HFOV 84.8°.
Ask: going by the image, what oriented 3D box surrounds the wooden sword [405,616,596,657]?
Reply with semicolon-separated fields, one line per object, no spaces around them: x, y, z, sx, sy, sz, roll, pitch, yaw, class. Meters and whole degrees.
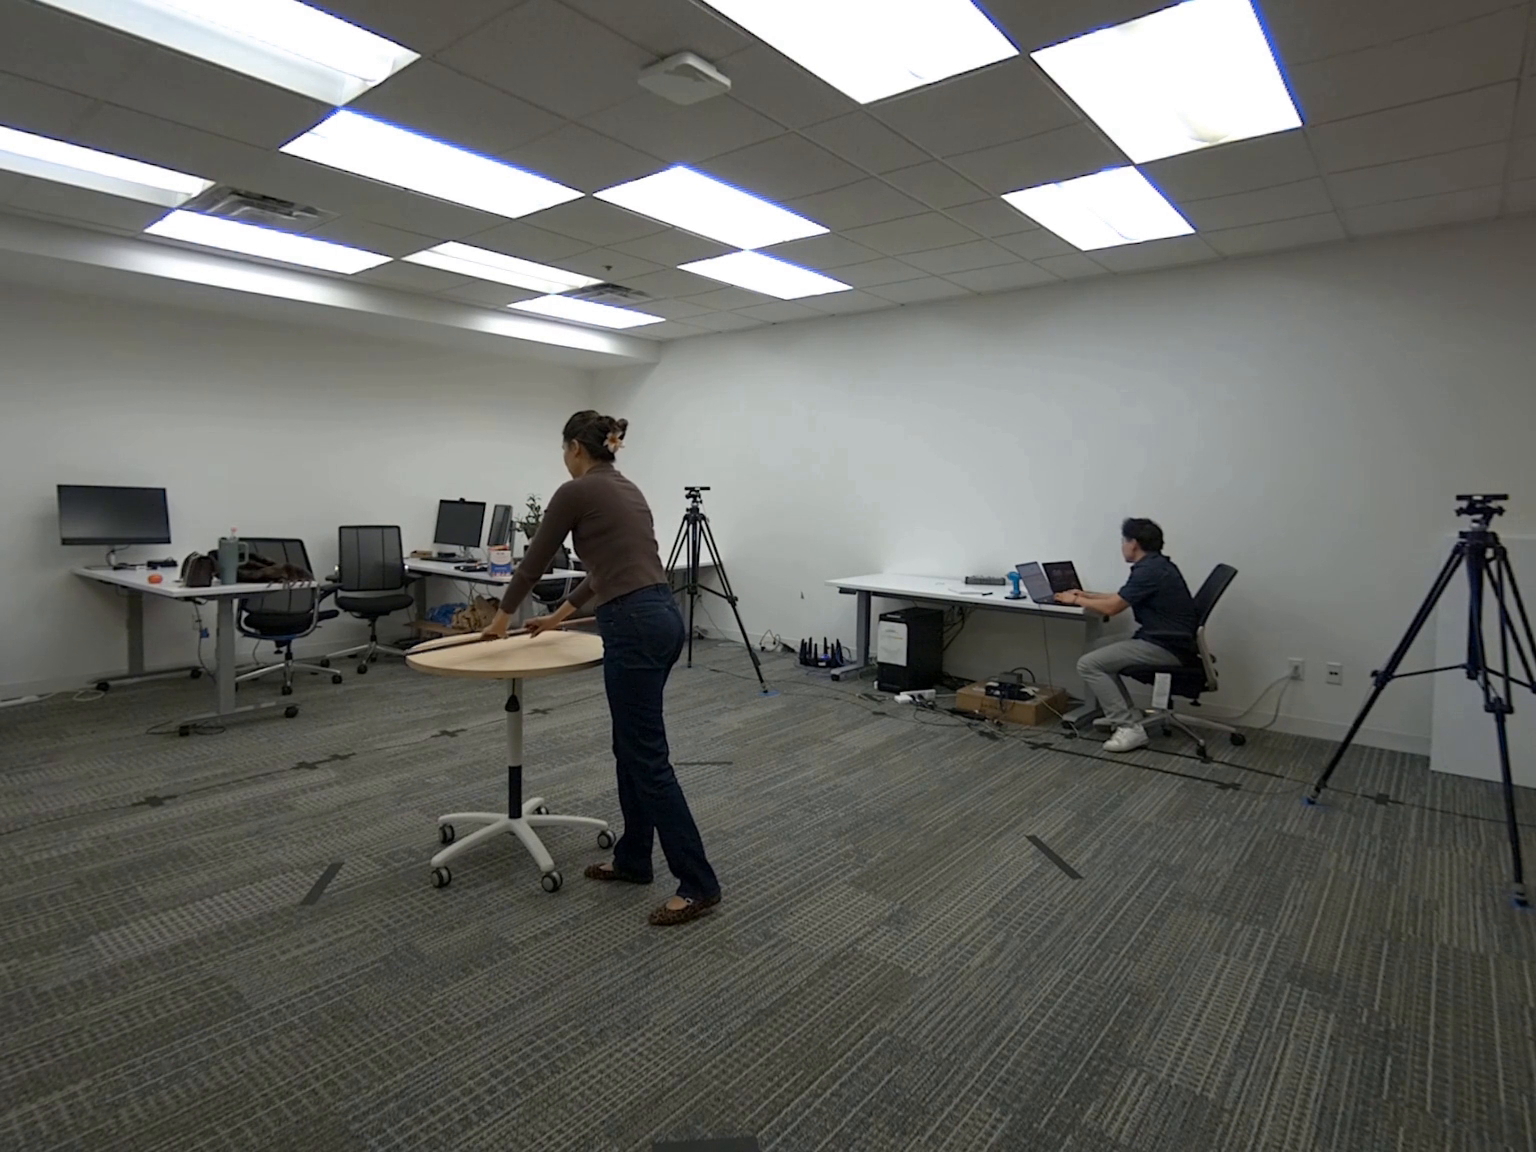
-0.925;0.212;3.211;0.025;0.051;0.997;29;20;28;wooden sword
